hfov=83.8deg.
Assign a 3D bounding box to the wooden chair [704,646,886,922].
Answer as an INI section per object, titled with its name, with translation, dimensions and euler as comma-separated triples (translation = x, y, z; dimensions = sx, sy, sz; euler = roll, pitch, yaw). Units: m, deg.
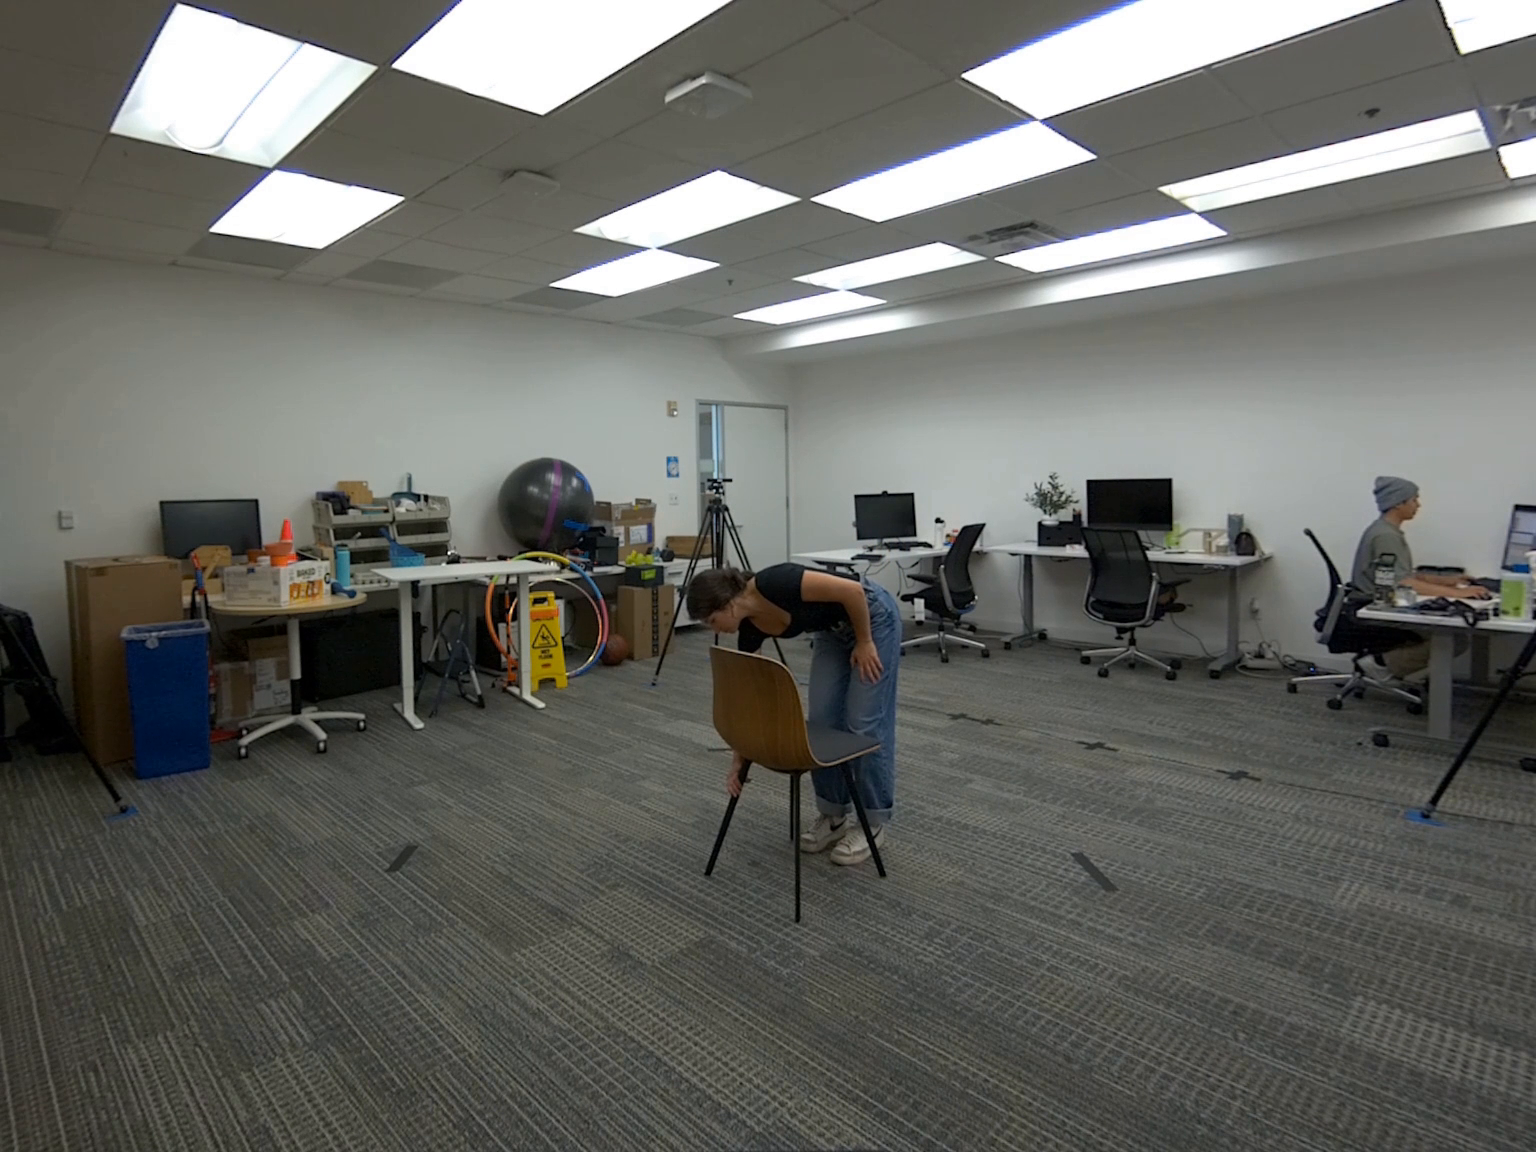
[wooden chair]
translation = 0.094, 0.632, 2.968
dimensions = 0.511, 0.872, 0.493
euler = -10, 9, -43
